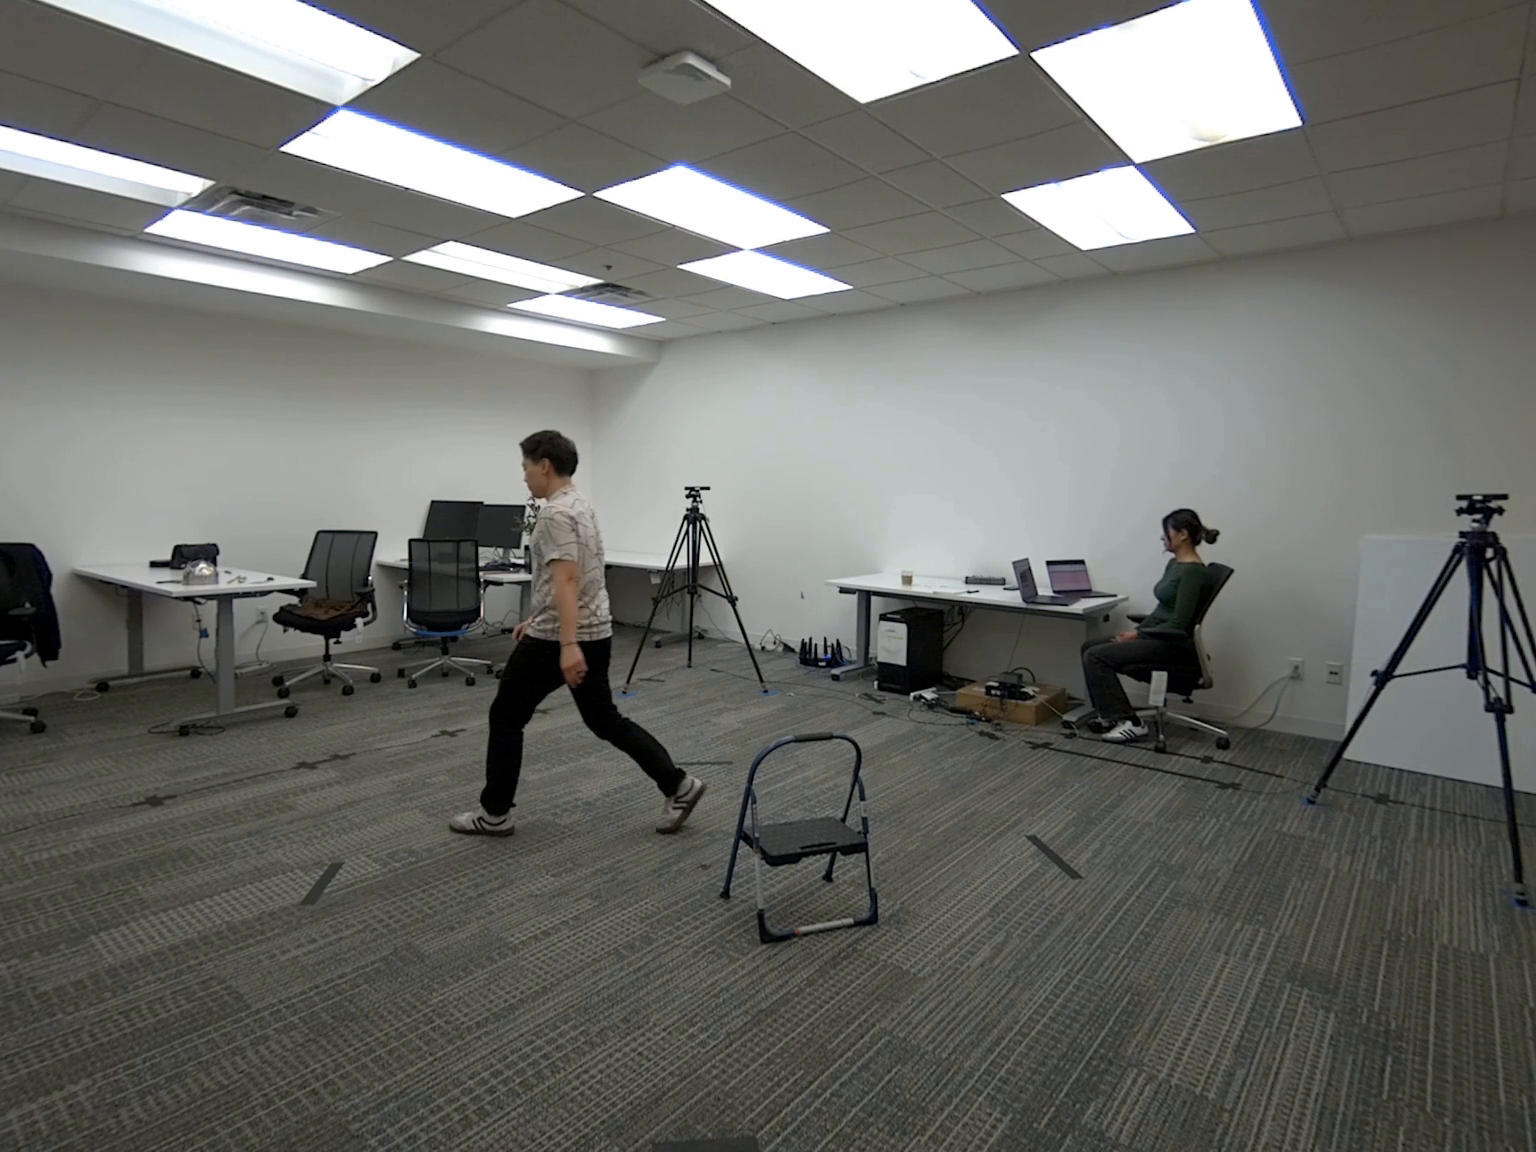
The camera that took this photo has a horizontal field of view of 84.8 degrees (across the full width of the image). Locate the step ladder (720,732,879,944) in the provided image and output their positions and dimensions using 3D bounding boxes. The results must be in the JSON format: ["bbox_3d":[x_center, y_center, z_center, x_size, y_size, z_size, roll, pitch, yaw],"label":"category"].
[{"bbox_3d":[0.100,0.798,2.804,0.421,0.604,0.358,-1,4,-24],"label":"step ladder"}]
